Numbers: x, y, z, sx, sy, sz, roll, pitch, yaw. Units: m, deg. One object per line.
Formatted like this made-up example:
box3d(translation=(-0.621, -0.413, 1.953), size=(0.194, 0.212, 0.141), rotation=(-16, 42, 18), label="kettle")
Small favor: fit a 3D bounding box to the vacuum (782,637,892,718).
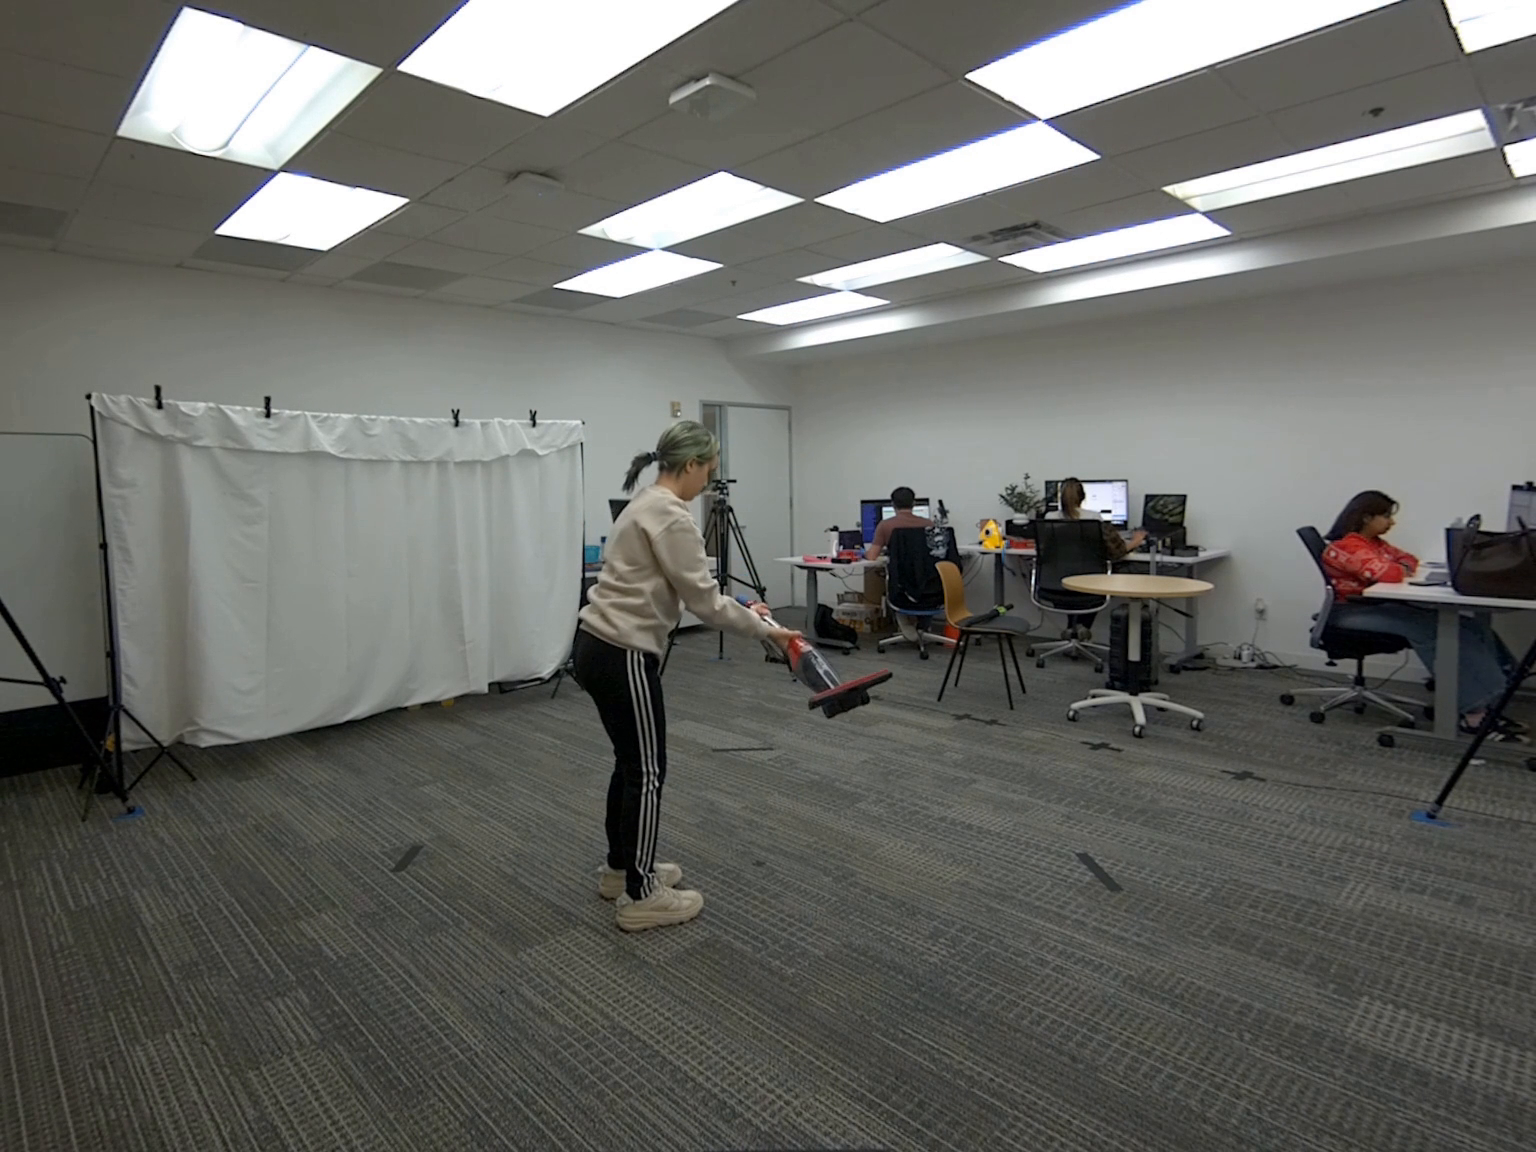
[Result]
box3d(translation=(0.055, 0.232, 2.888), size=(0.250, 0.141, 1.077), rotation=(-19, 18, -14), label="vacuum")
